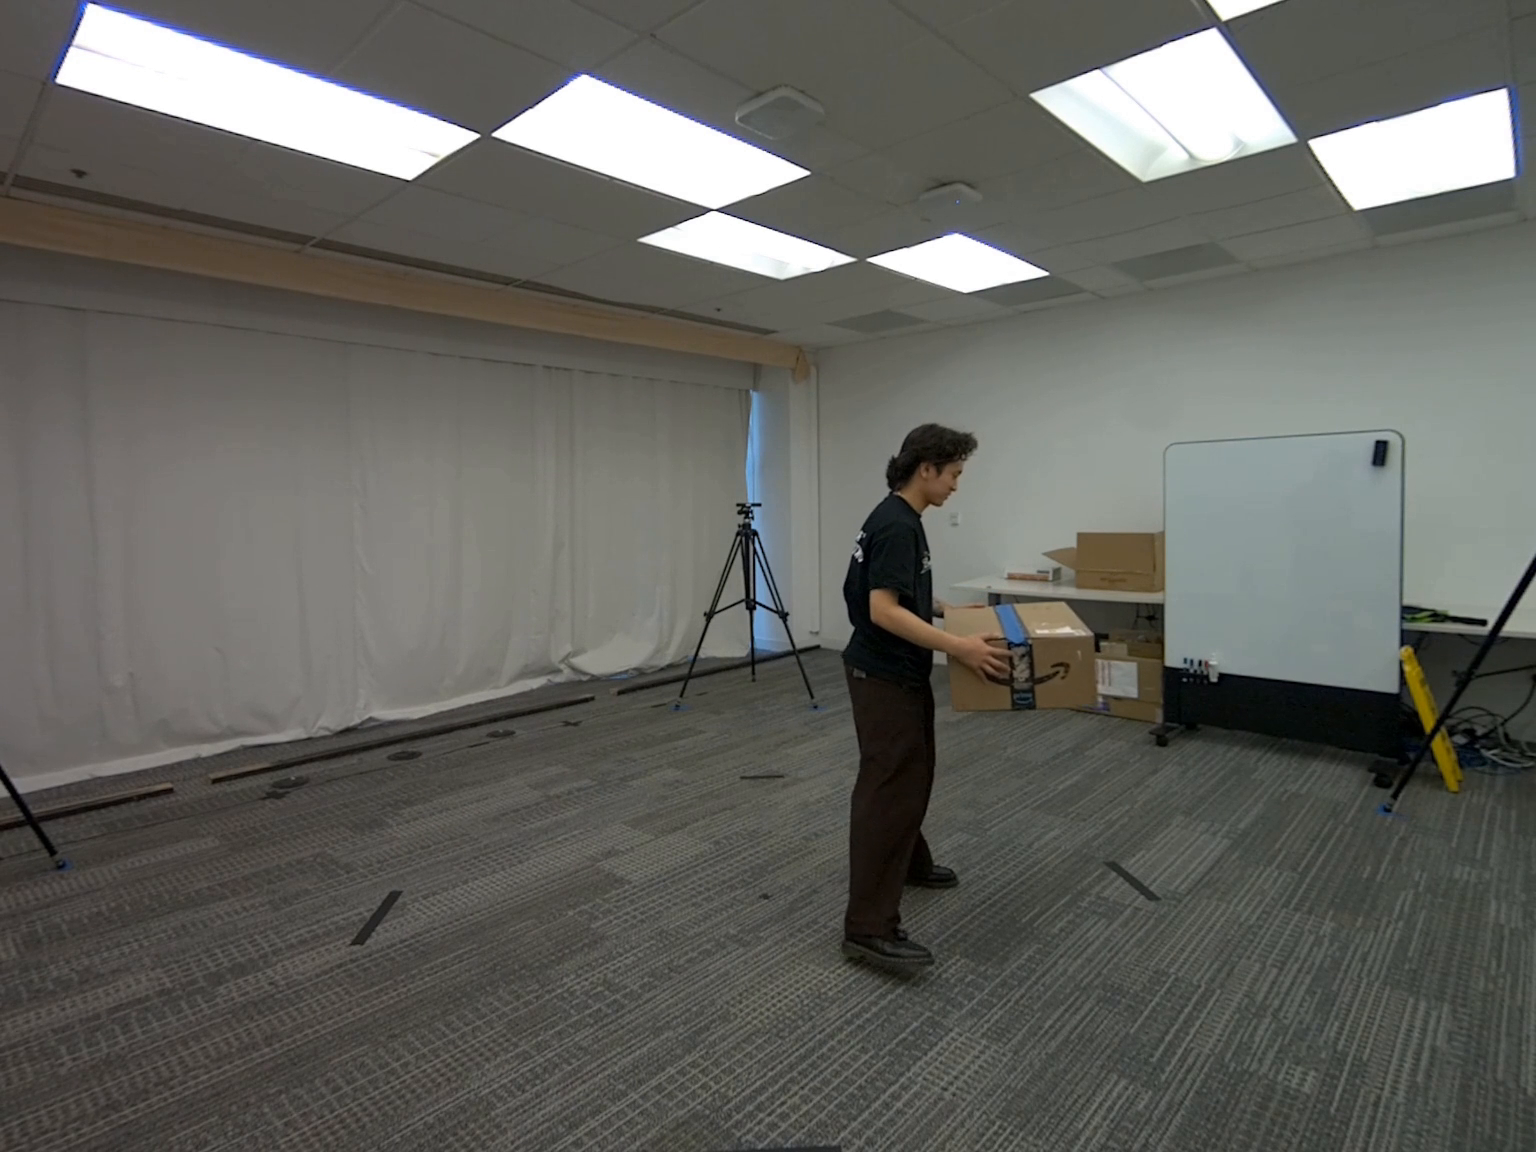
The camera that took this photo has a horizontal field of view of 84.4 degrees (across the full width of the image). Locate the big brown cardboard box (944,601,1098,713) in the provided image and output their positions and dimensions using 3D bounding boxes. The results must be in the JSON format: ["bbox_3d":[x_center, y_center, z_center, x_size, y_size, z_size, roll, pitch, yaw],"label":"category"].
[{"bbox_3d":[0.798,0.253,2.748,0.423,0.232,0.583,-5,6,12],"label":"big brown cardboard box"}]
